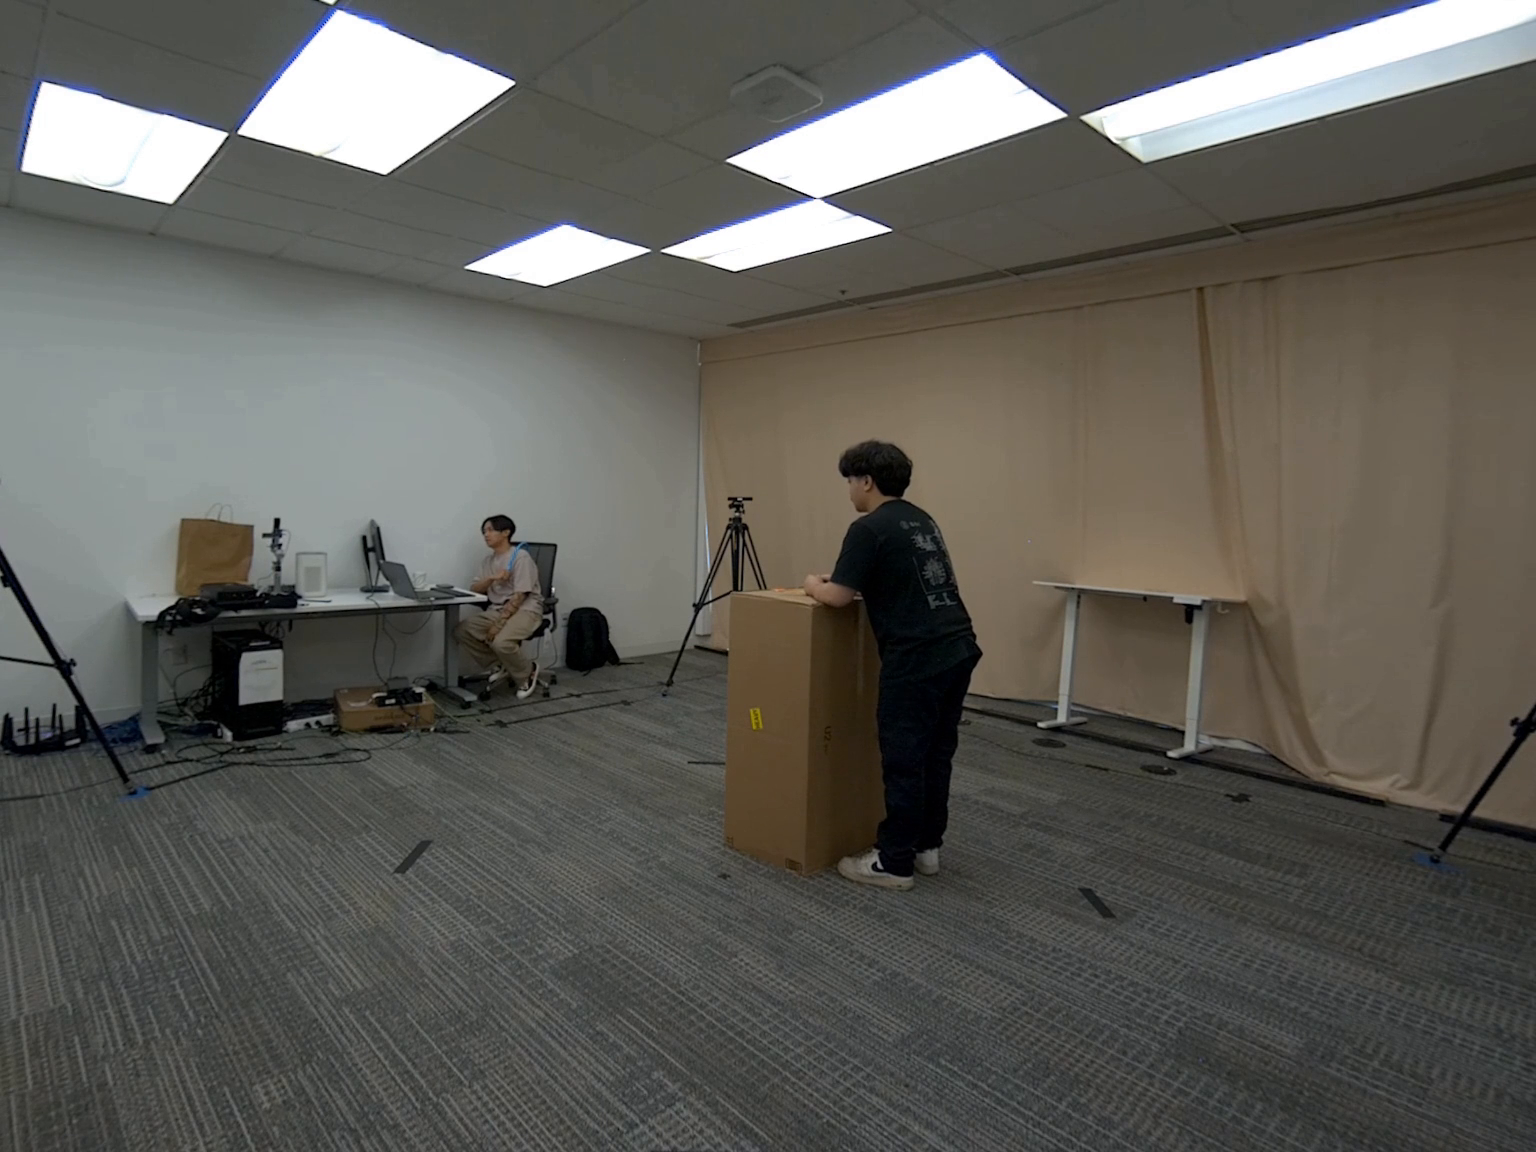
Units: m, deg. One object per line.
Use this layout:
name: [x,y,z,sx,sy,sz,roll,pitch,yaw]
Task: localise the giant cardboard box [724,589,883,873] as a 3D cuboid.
giant cardboard box: [0.169,0.576,3.438,0.458,1.025,0.570,3,3,44]
